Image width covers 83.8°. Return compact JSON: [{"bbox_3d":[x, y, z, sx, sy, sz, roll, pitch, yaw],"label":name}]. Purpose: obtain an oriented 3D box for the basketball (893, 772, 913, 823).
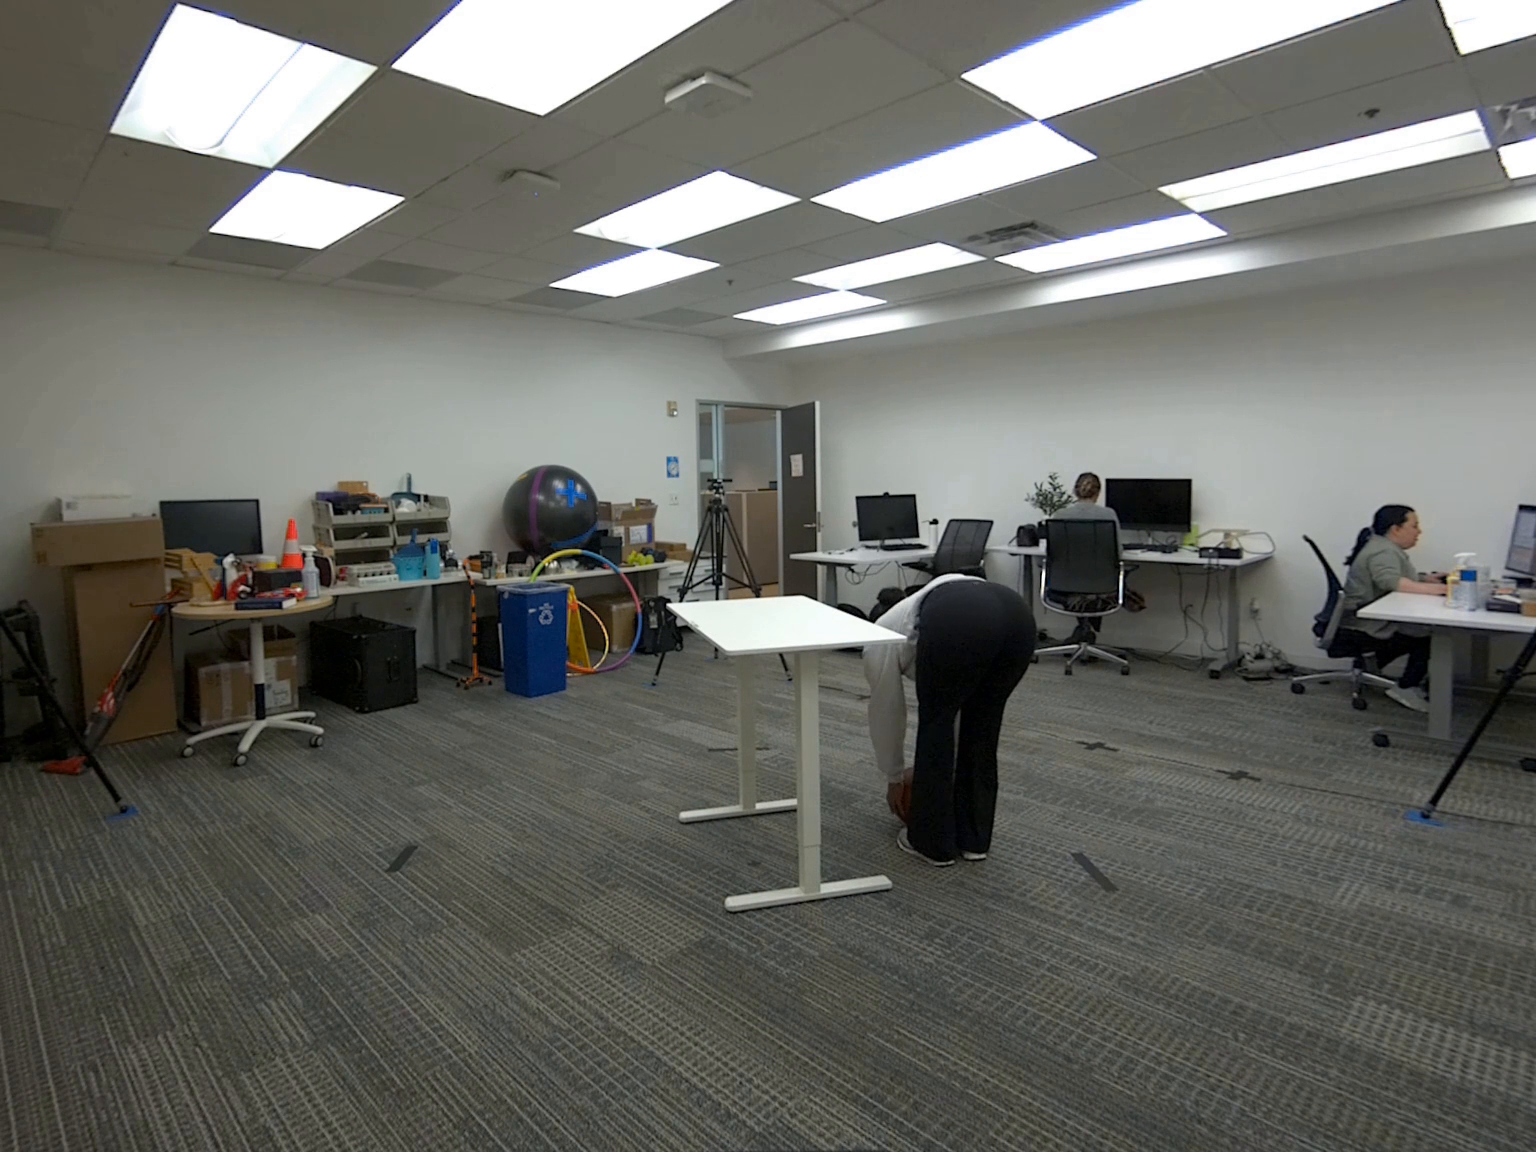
[{"bbox_3d":[0.627,0.876,3.409,0.236,0.235,0.237,-1,5,-2],"label":"basketball"}]
